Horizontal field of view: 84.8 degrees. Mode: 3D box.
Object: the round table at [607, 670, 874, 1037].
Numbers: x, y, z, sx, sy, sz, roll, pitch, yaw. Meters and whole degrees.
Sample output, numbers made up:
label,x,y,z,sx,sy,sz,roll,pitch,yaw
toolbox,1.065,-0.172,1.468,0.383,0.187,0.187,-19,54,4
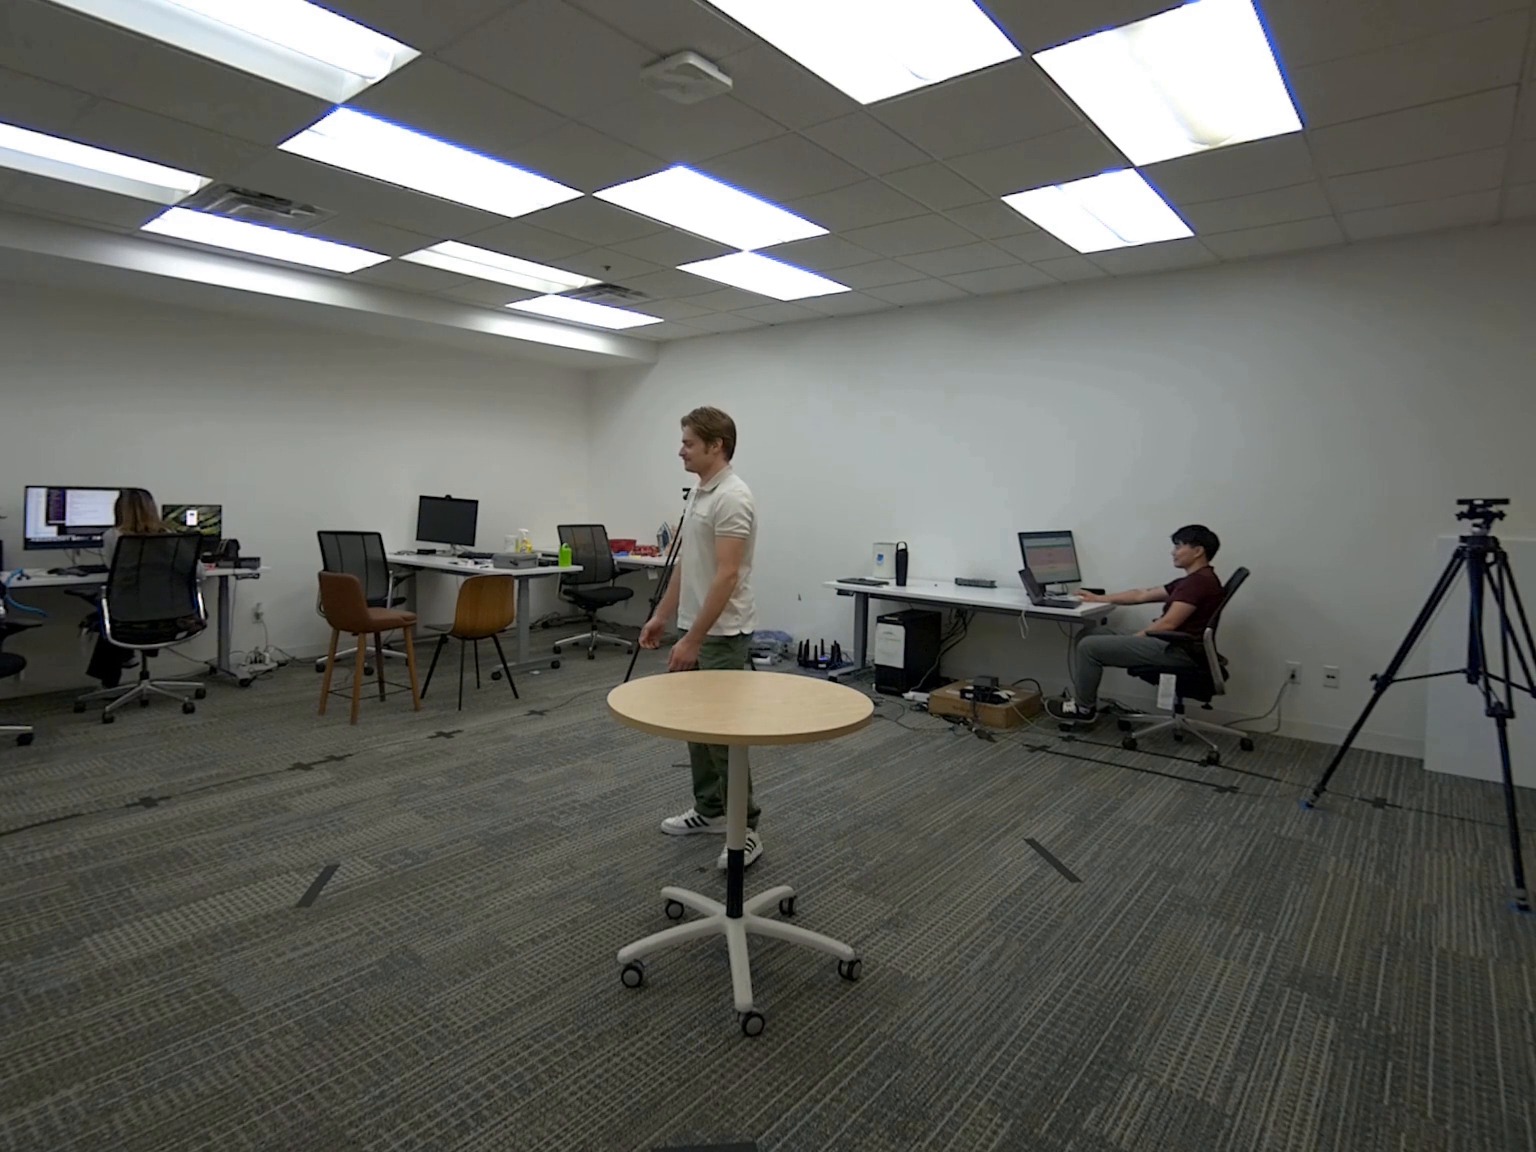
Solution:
label,x,y,z,sx,sy,sz,roll,pitch,yaw
round table,-0.103,0.742,2.492,0.763,0.791,0.768,1,4,-2
